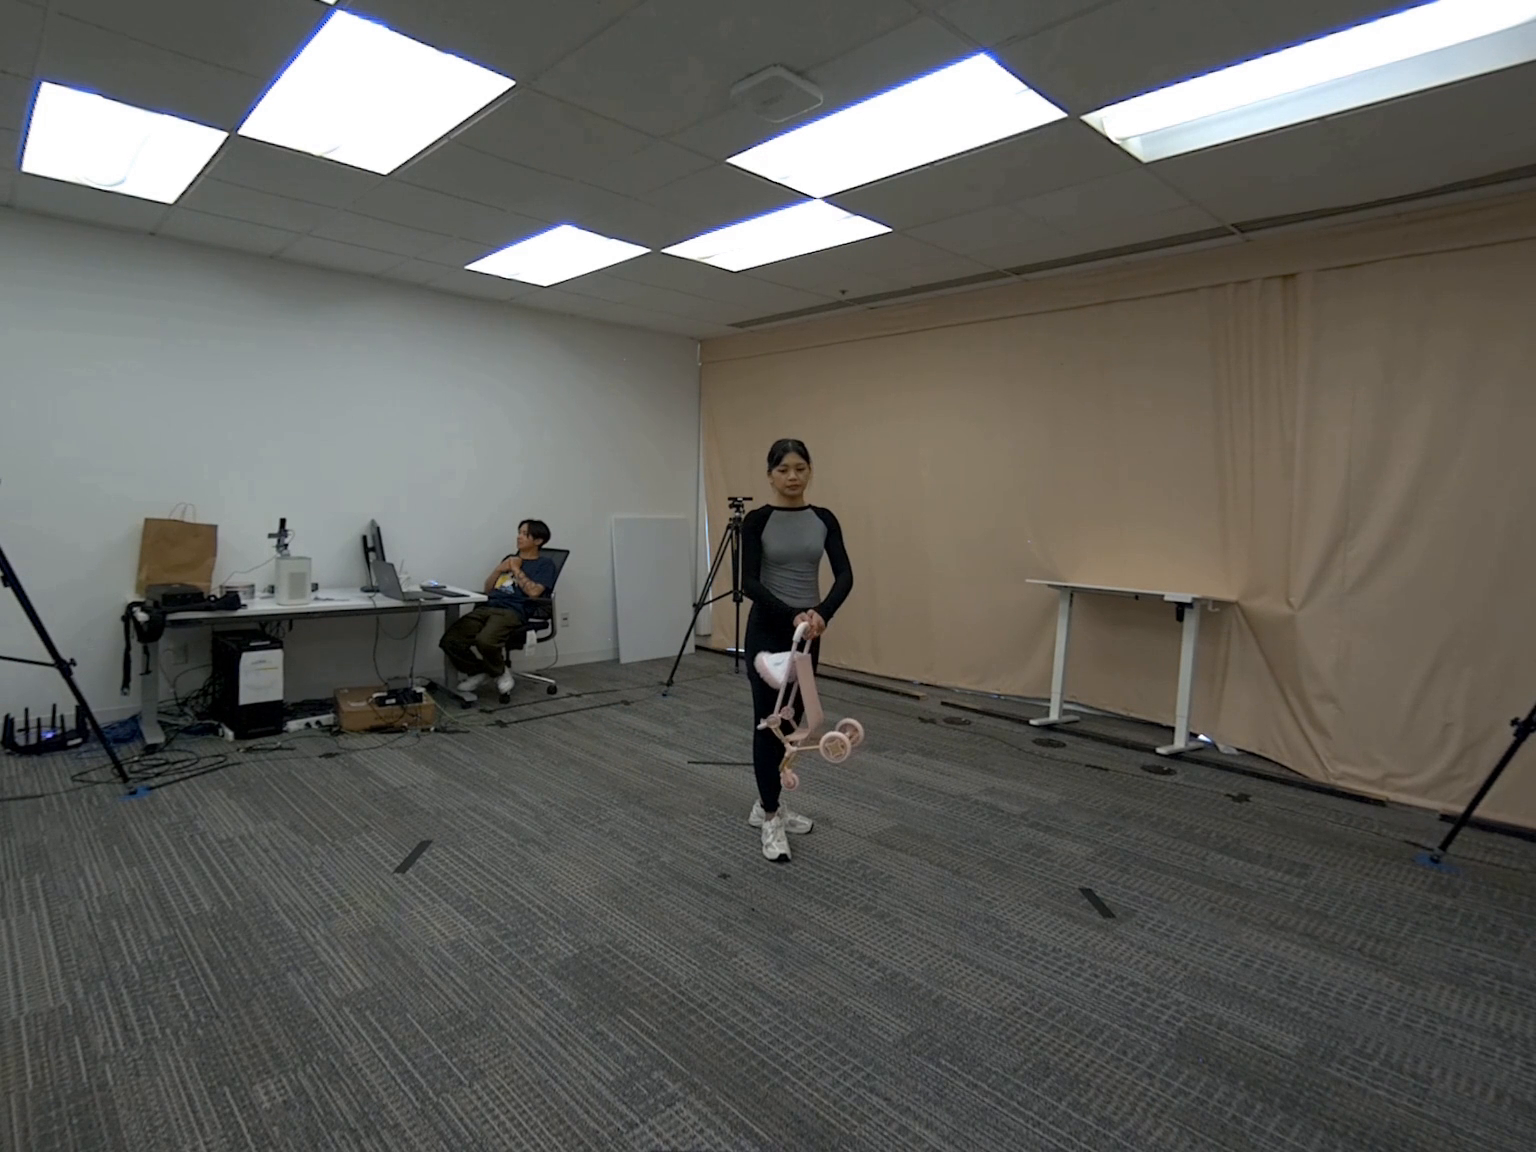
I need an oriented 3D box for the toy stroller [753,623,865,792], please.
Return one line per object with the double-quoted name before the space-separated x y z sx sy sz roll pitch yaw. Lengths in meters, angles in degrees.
"toy stroller" 0.096 0.477 3.020 0.344 0.539 0.277 -24 -8 22
